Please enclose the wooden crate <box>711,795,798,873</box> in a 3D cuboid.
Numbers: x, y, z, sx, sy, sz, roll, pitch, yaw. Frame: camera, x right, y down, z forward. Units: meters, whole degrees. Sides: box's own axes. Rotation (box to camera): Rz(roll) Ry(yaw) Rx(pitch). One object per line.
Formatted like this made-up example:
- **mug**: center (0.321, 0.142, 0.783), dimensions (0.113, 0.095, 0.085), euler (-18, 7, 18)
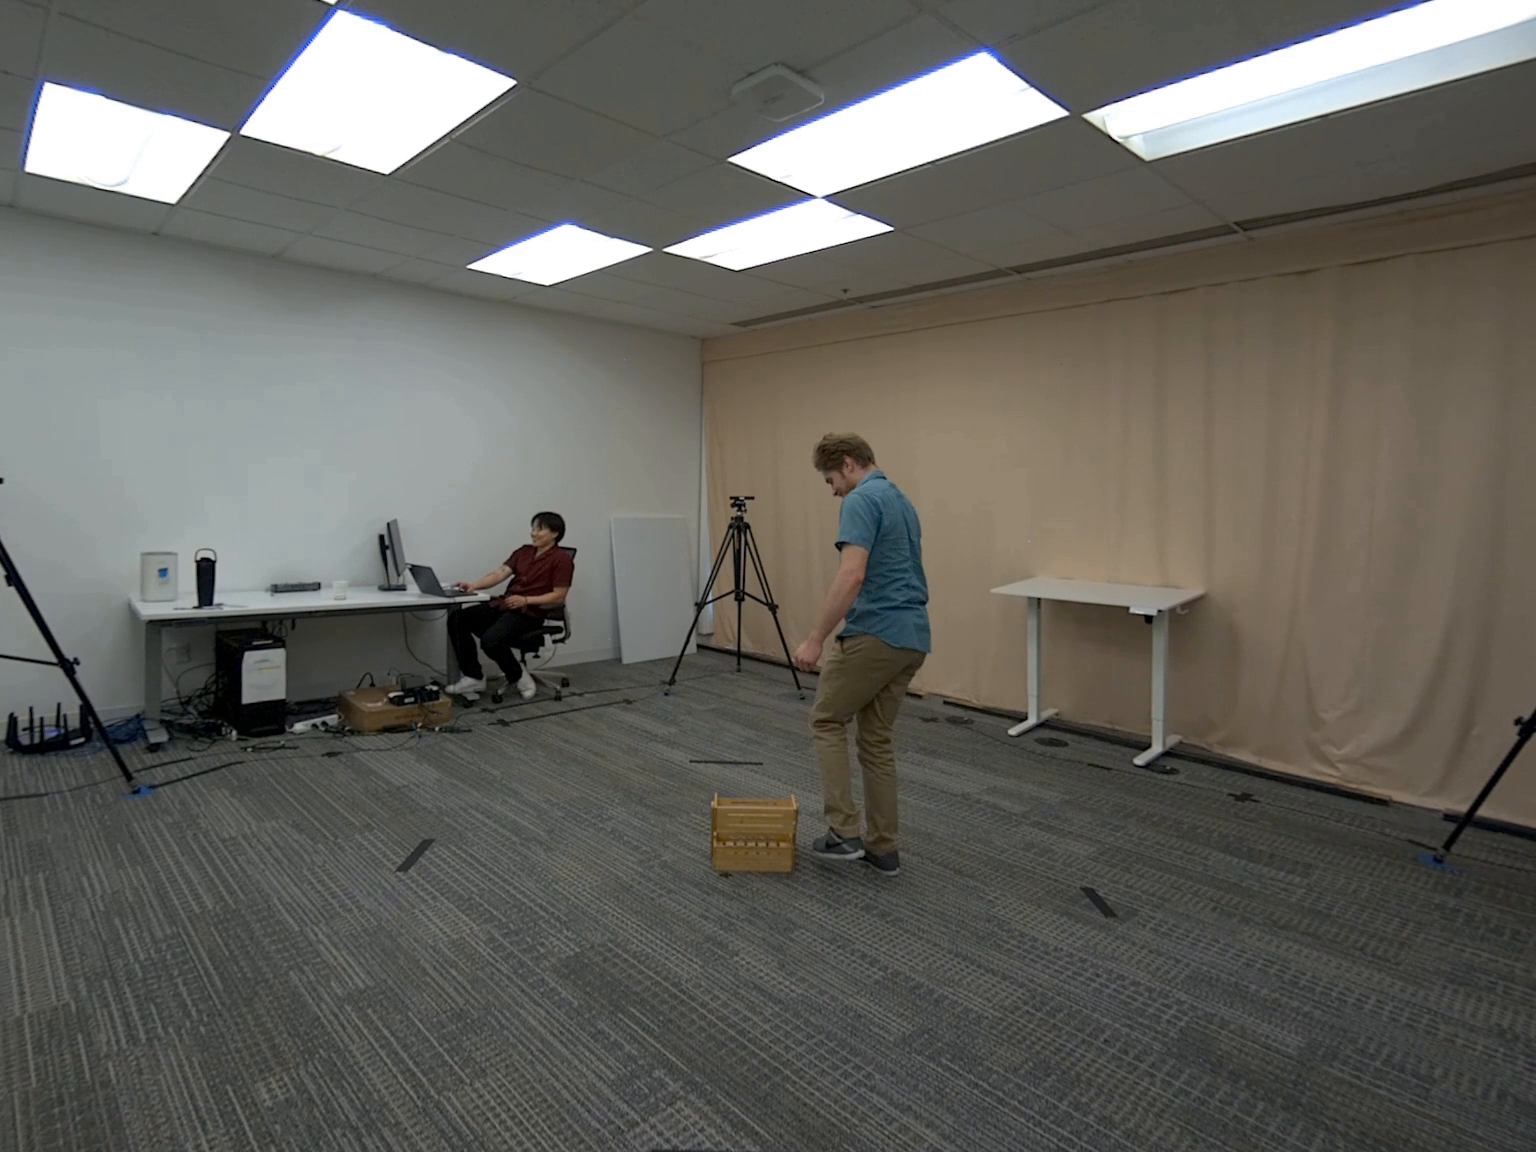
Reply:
- **wooden crate**: center (-0.062, 0.958, 3.245), dimensions (0.324, 0.273, 0.303), euler (1, 4, -2)
